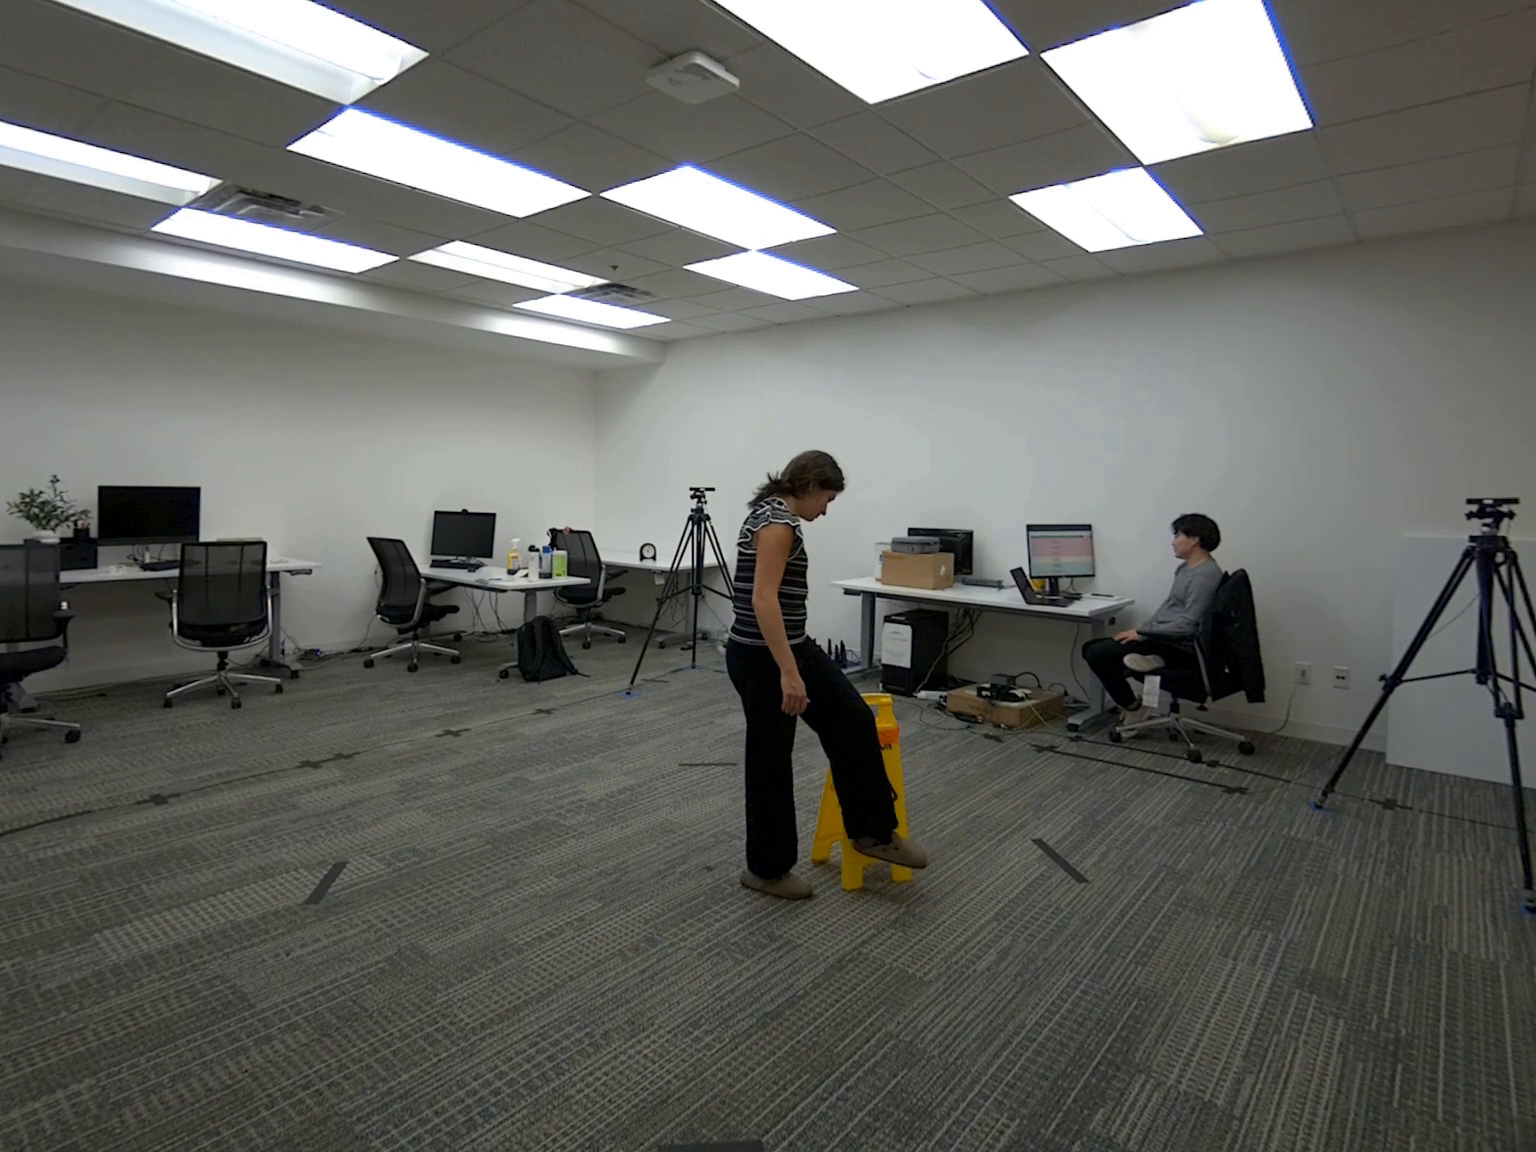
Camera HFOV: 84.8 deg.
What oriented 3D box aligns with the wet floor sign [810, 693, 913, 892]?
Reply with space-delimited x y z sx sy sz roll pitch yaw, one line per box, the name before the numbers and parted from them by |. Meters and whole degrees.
wet floor sign | 0.347 0.751 3.095 0.276 0.645 0.297 1 2 -23
